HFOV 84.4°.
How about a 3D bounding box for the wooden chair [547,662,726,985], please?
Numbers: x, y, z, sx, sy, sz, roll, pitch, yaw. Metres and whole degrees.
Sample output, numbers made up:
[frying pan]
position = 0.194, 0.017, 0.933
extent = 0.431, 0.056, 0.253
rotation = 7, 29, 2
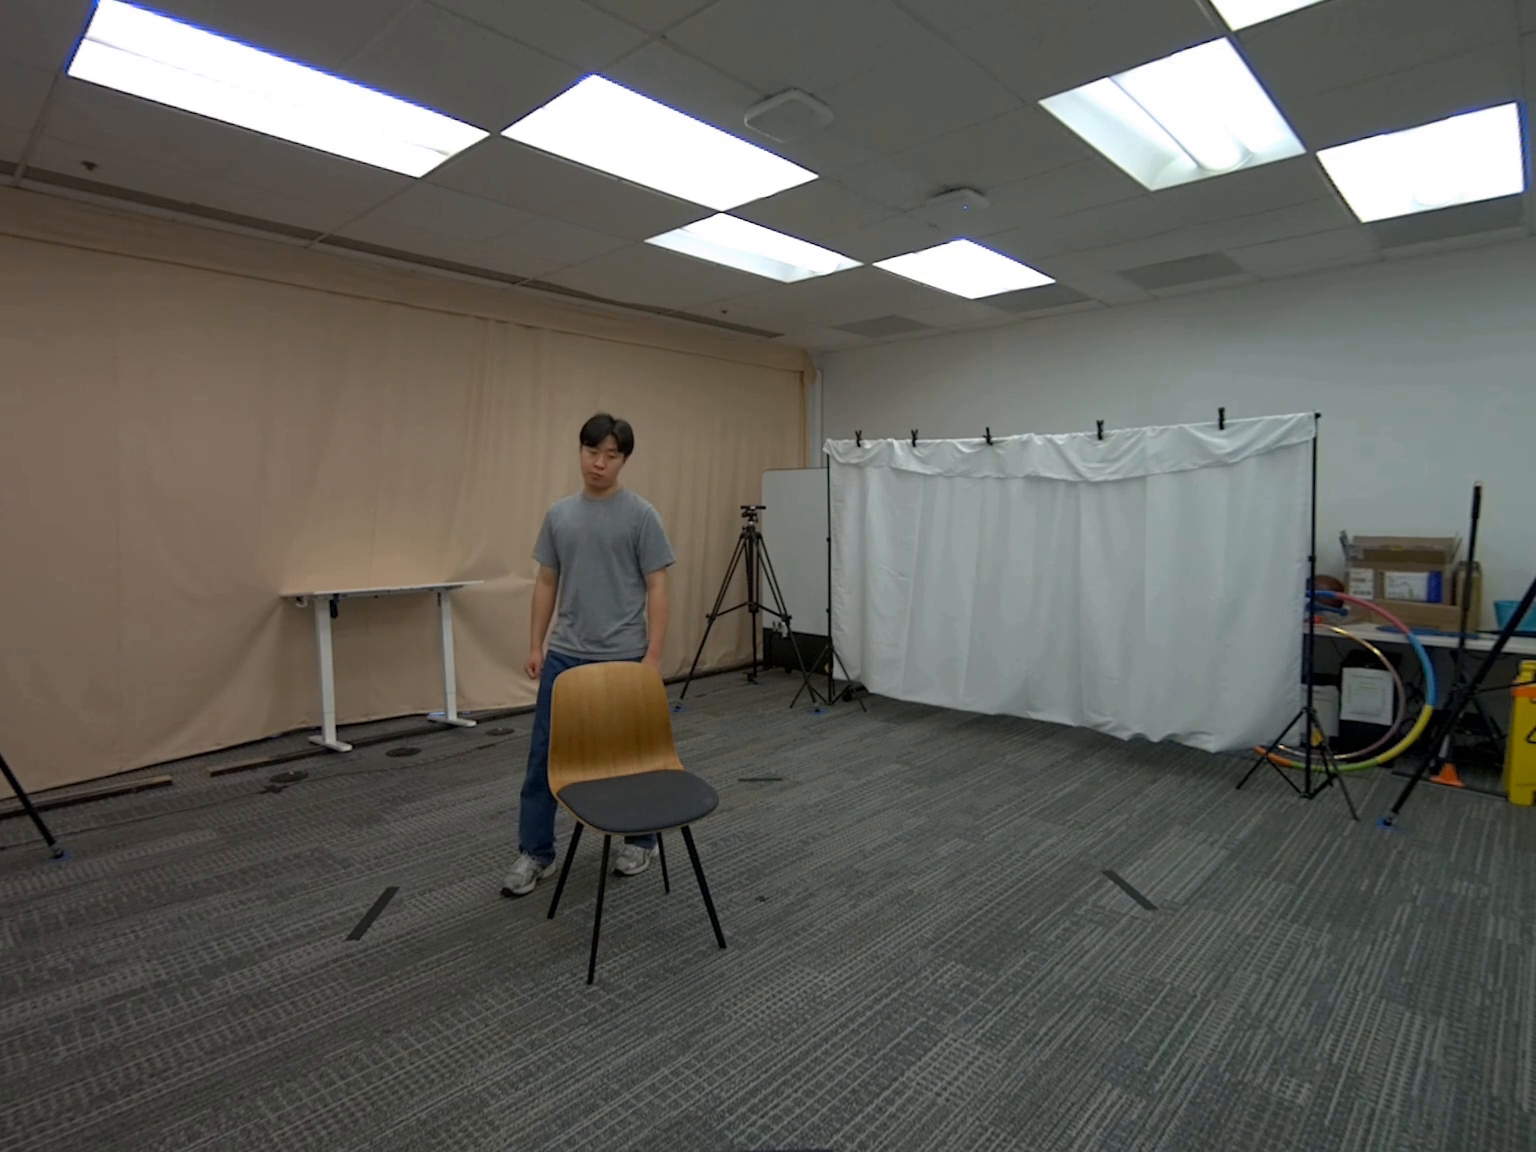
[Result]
[wooden chair]
position = -0.433, 0.742, 2.716
extent = 0.466, 0.878, 0.536
rotation = -2, -1, -28
